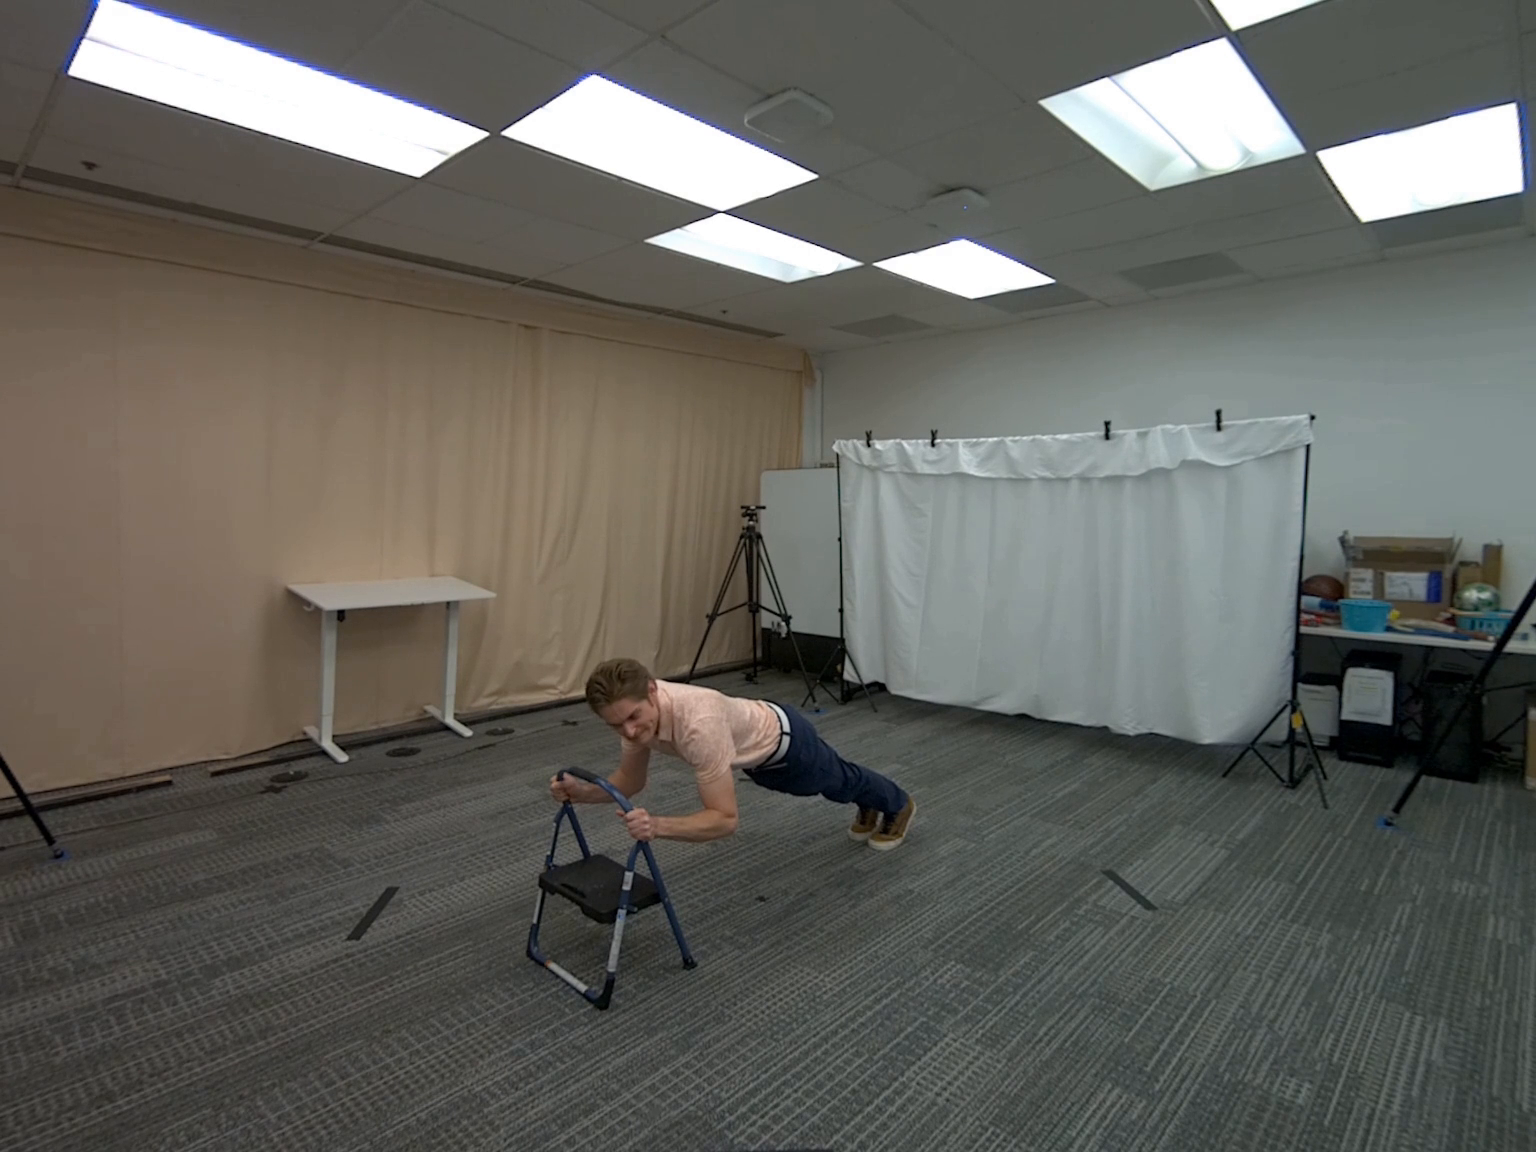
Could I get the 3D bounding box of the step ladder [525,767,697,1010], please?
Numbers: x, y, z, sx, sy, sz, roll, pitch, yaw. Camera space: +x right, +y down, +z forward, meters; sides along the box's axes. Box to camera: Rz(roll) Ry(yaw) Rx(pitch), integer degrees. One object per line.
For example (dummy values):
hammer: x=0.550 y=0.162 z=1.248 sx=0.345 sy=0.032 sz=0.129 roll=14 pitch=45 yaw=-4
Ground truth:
step ladder: x=-0.488 y=0.883 z=2.565 sx=0.445 sy=0.605 sz=0.338 roll=3 pitch=5 yaw=44
